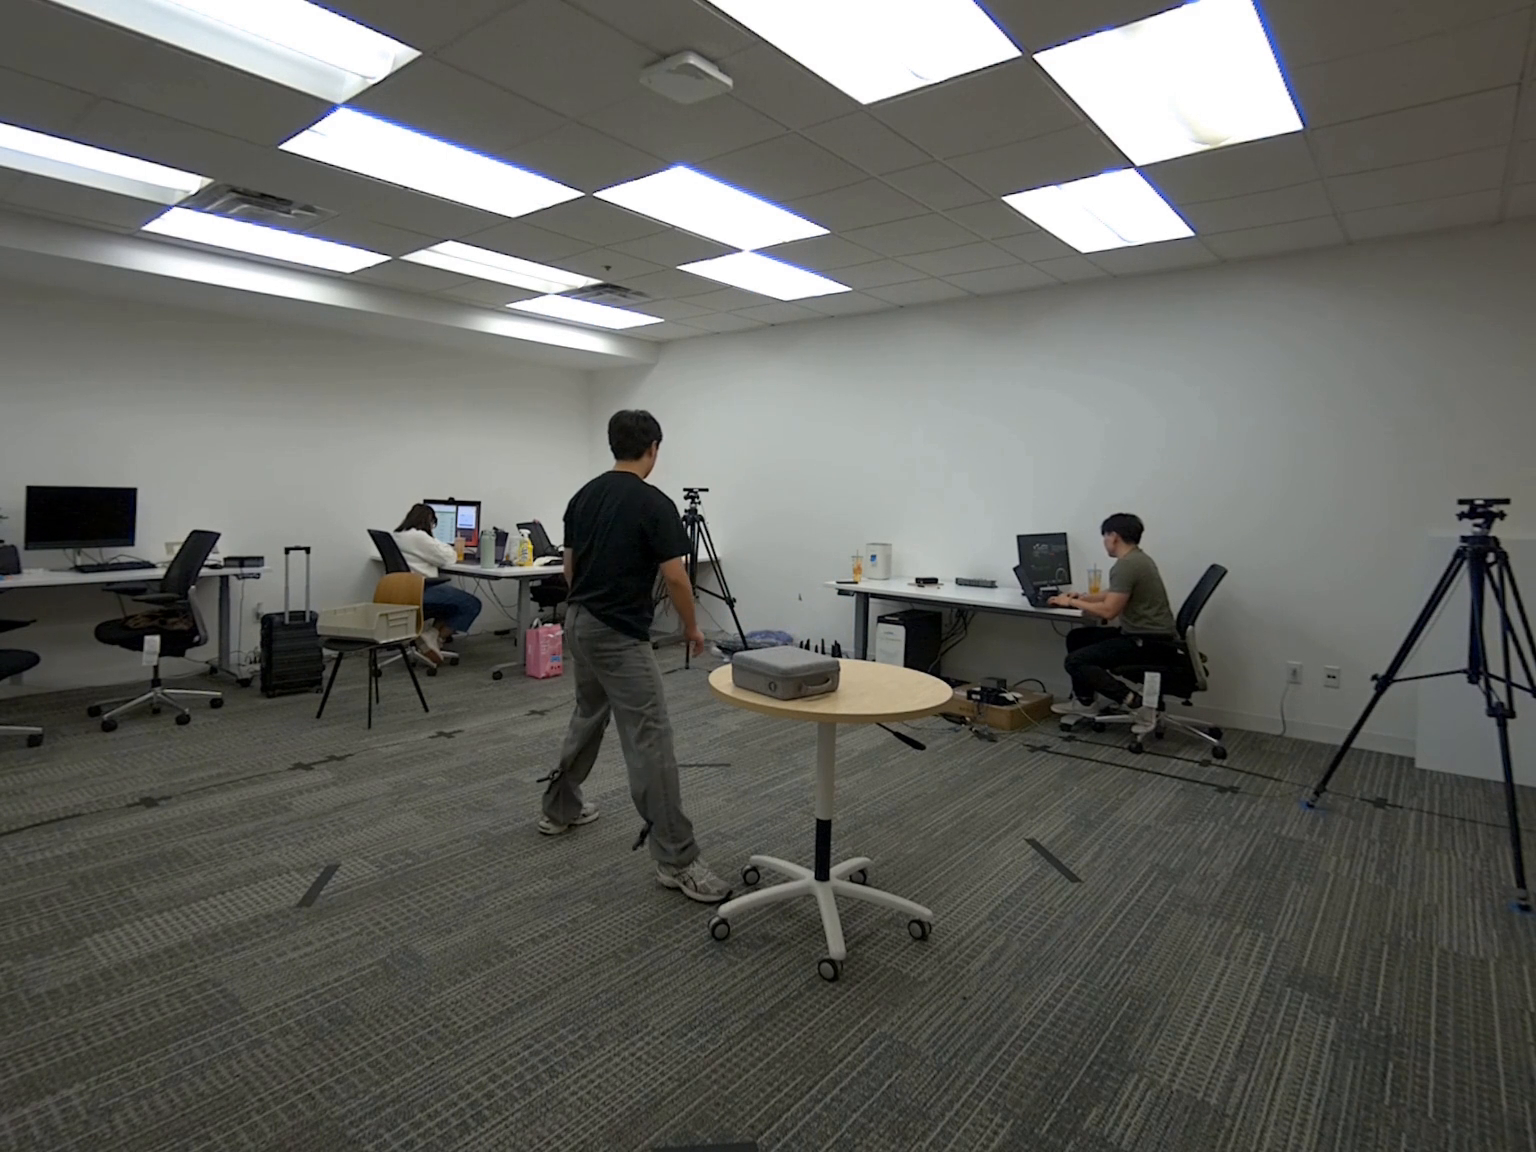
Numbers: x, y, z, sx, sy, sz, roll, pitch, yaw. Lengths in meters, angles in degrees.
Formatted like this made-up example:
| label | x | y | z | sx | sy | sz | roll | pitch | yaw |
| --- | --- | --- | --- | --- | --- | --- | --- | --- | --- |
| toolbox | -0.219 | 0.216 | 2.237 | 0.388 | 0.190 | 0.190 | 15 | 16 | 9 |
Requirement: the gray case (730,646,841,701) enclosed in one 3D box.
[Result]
| label | x | y | z | sx | sy | sz | roll | pitch | yaw |
| --- | --- | --- | --- | --- | --- | --- | --- | --- | --- |
| gray case | 0.057 | 0.293 | 2.592 | 0.255 | 0.102 | 0.297 | -3 | 8 | -40 |
